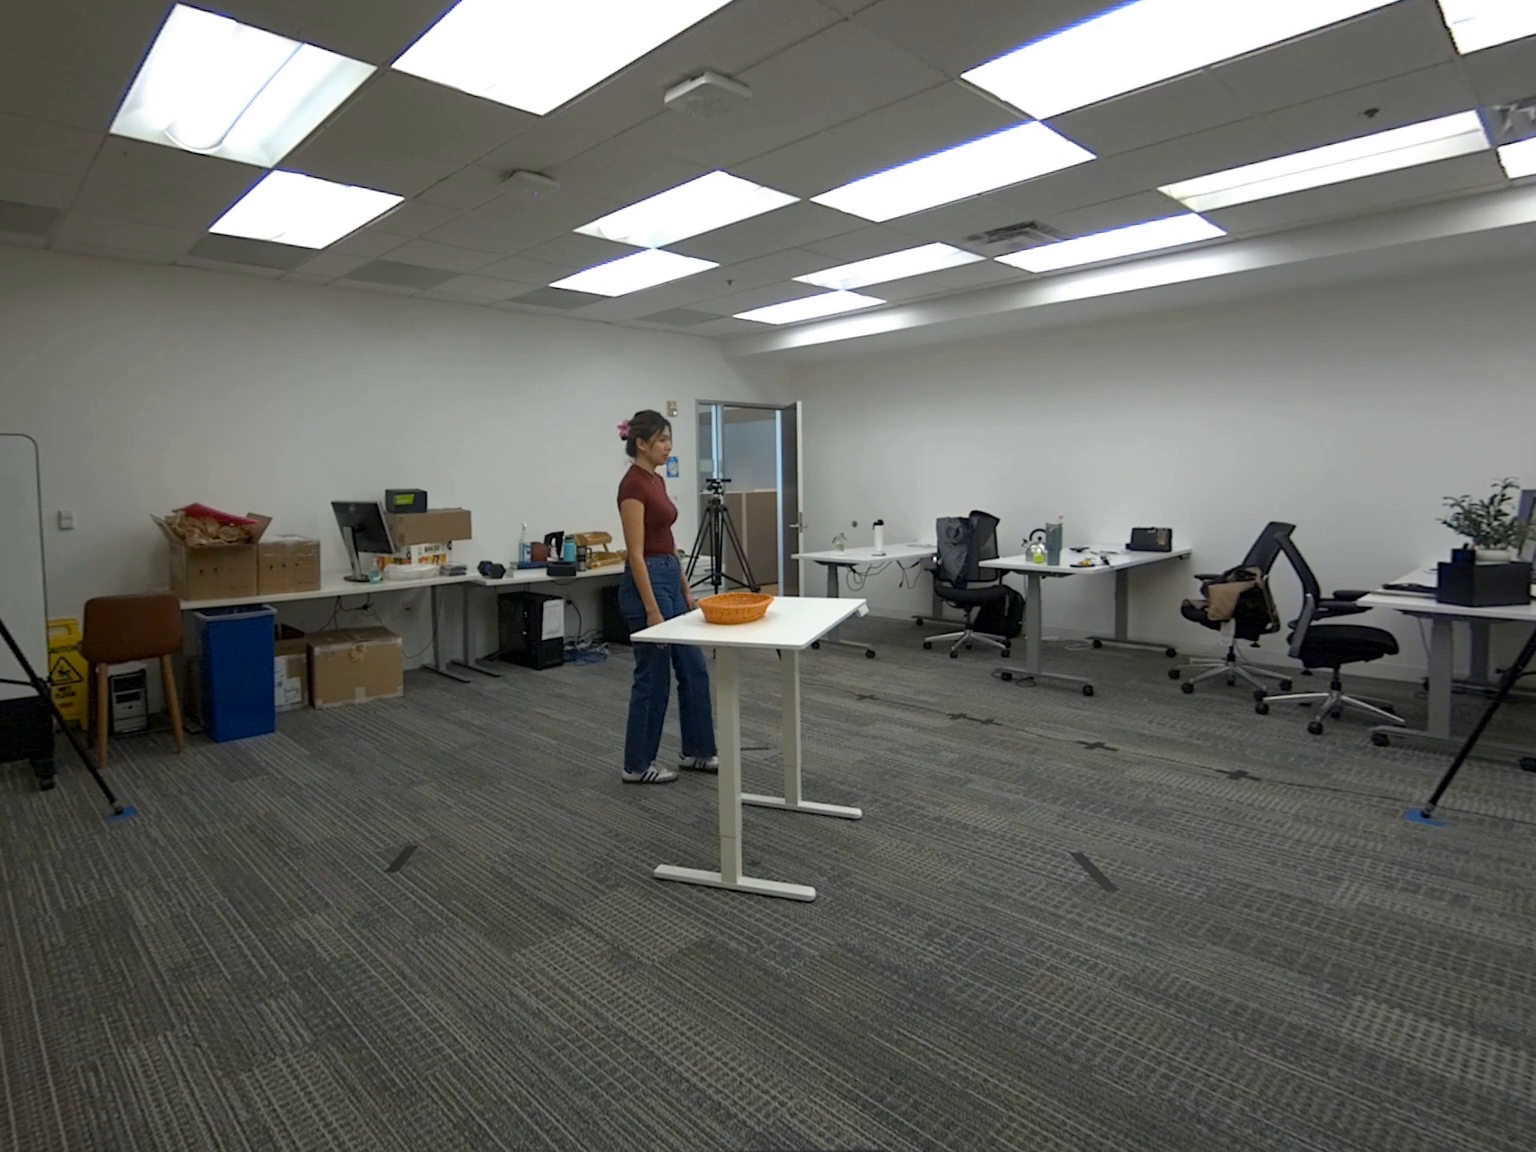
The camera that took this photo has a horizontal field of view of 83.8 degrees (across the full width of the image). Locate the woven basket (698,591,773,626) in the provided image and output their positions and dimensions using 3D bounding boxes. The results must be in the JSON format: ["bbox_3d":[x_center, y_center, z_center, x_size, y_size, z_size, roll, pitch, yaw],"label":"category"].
[{"bbox_3d":[-0.121,0.128,3.167,0.258,0.073,0.345,3,7,22],"label":"woven basket"}]
